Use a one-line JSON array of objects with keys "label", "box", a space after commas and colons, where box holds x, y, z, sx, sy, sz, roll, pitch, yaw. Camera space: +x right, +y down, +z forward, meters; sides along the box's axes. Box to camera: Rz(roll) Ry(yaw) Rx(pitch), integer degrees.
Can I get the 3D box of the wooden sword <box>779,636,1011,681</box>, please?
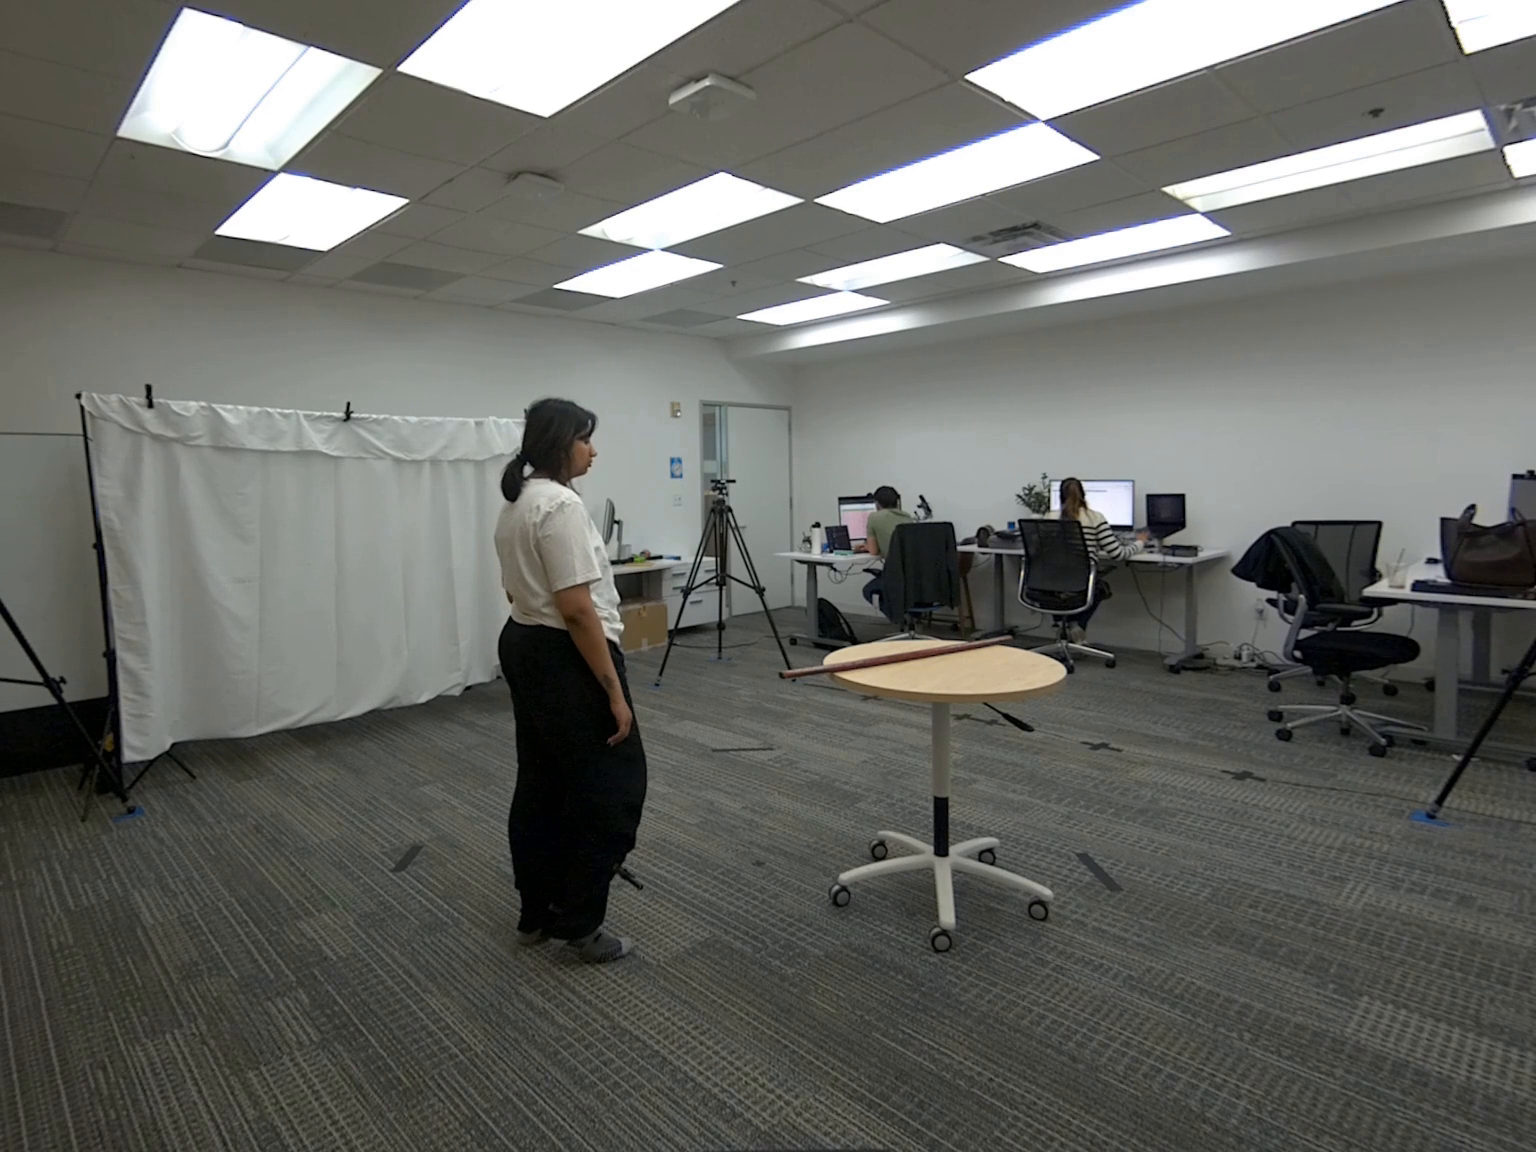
[{"label": "wooden sword", "box": [0.449, 0.266, 2.880, 1.002, 0.024, 0.053, -6, 17, -29]}]
